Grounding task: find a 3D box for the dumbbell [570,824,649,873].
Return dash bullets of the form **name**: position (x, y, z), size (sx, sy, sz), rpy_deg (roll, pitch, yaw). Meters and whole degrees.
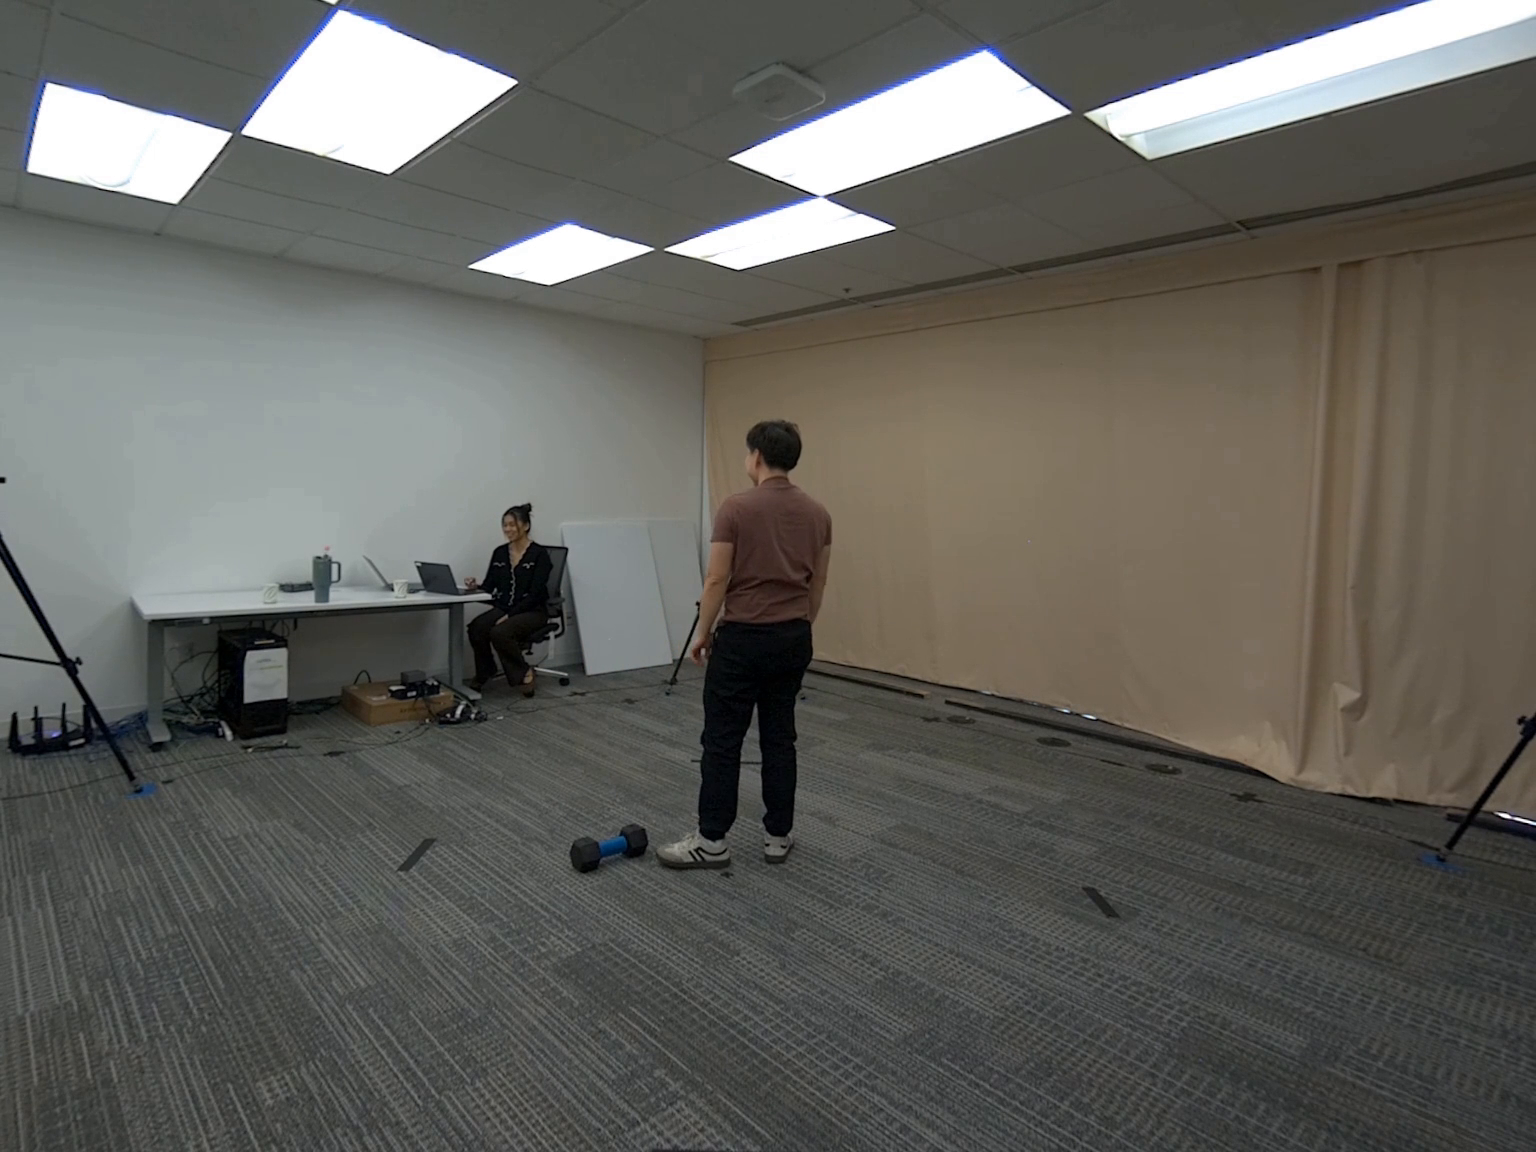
- **dumbbell**: position (-0.609, 1.032, 3.190), size (0.287, 0.125, 0.109), rpy_deg (-3, -24, -41)
